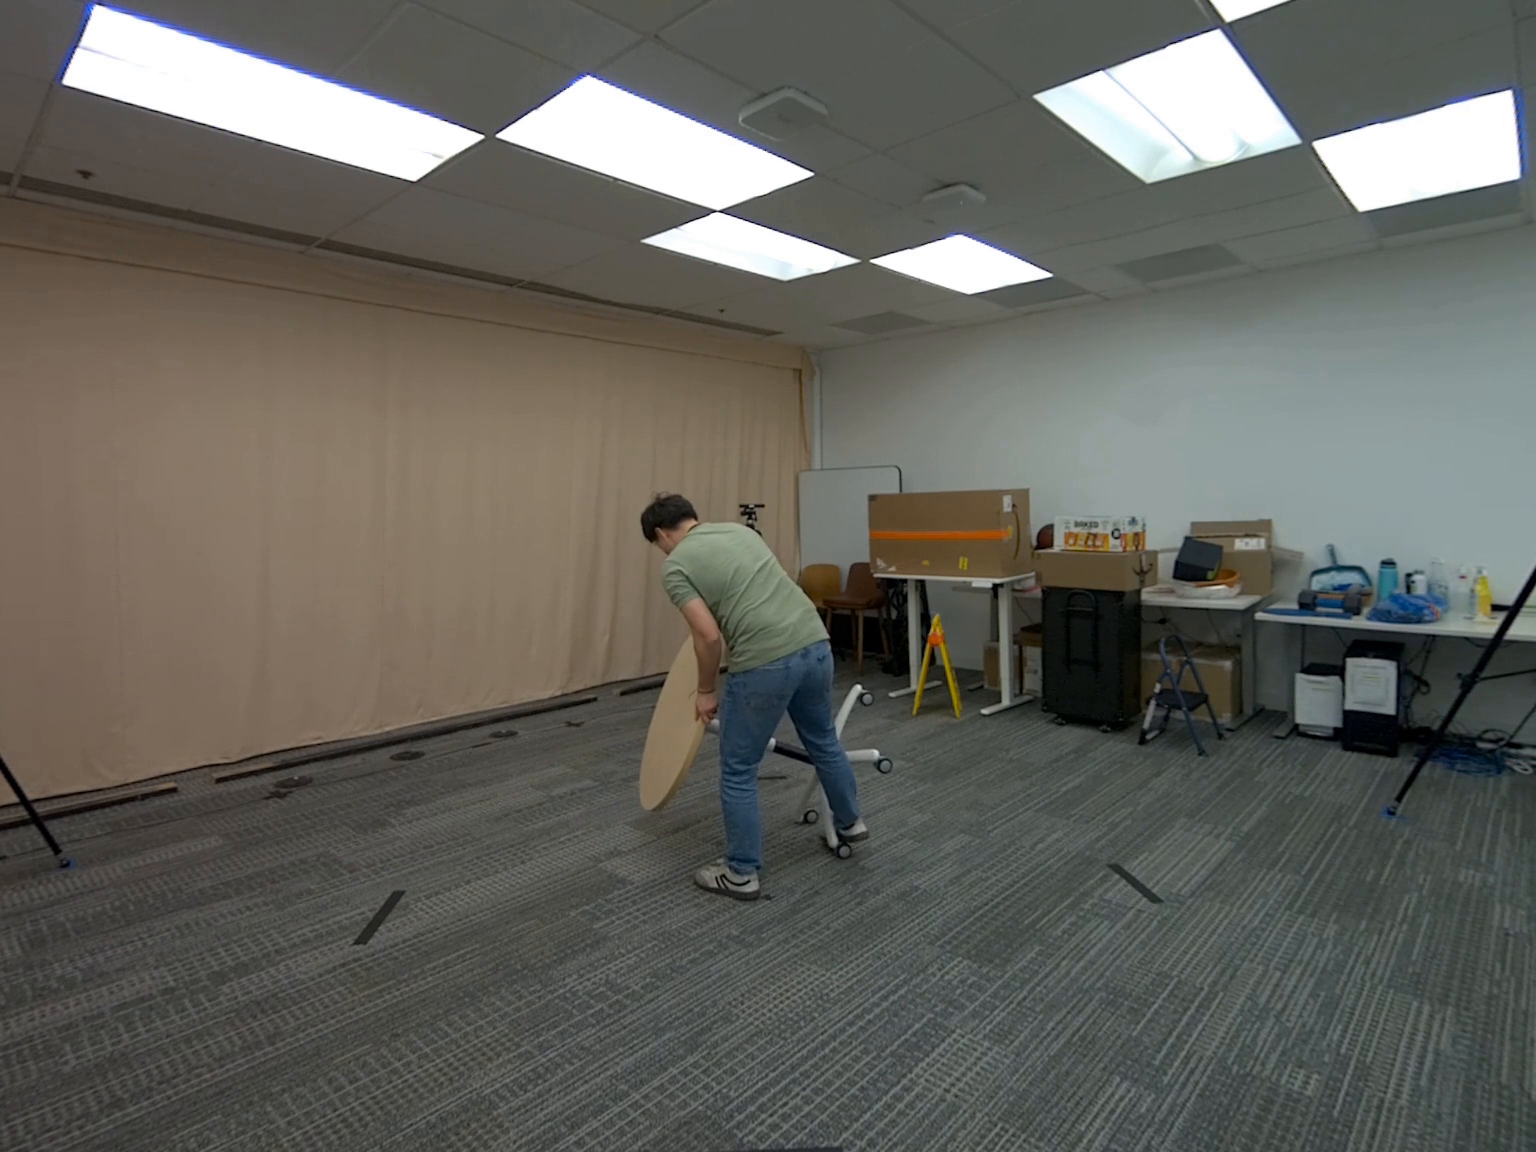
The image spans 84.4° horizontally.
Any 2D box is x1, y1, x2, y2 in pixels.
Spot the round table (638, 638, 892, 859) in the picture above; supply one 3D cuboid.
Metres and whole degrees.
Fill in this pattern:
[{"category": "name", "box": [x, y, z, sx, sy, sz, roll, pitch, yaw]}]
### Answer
[{"category": "round table", "box": [-0.011, 0.688, 3.455, 0.781, 0.764, 0.776, 22, -2, -14]}]
